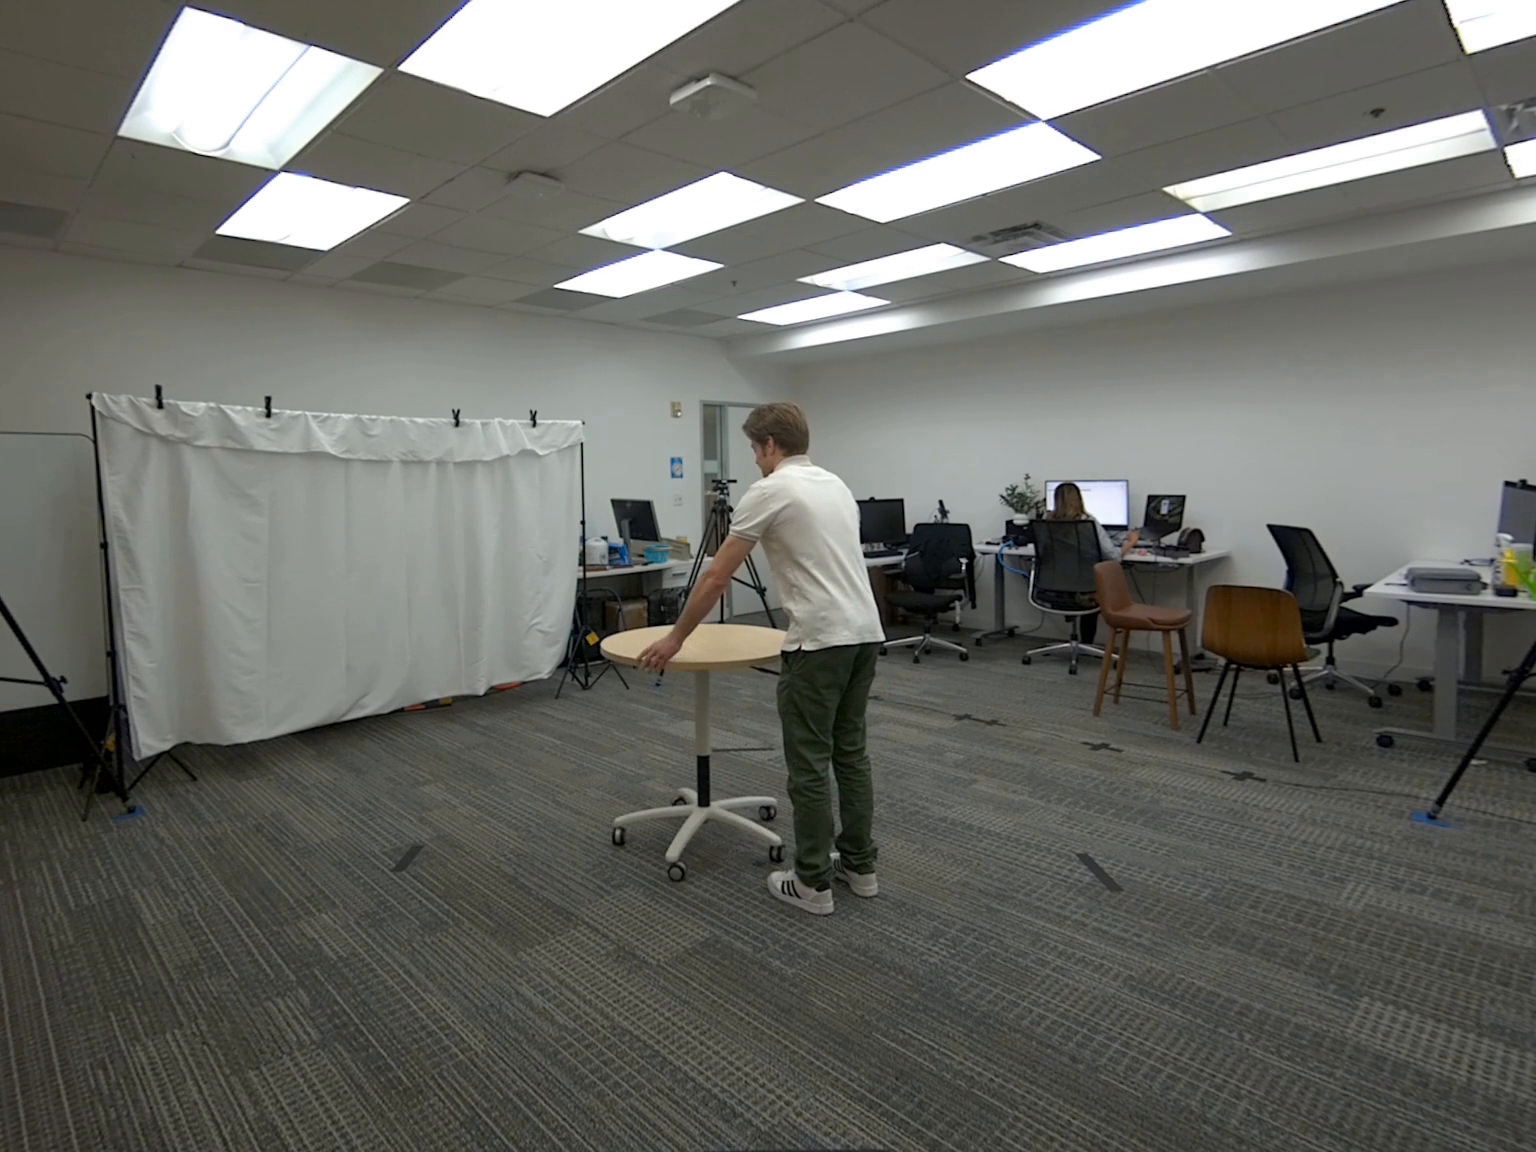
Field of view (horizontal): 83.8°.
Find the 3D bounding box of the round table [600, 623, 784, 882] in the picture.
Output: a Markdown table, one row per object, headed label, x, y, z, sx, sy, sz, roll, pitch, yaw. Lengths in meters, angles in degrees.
| label | x | y | z | sx | sy | sz | roll | pitch | yaw |
| --- | --- | --- | --- | --- | --- | --- | --- | --- | --- |
| round table | -0.255 | 0.641 | 3.295 | 0.763 | 0.791 | 0.768 | -1 | 5 | -2 |
